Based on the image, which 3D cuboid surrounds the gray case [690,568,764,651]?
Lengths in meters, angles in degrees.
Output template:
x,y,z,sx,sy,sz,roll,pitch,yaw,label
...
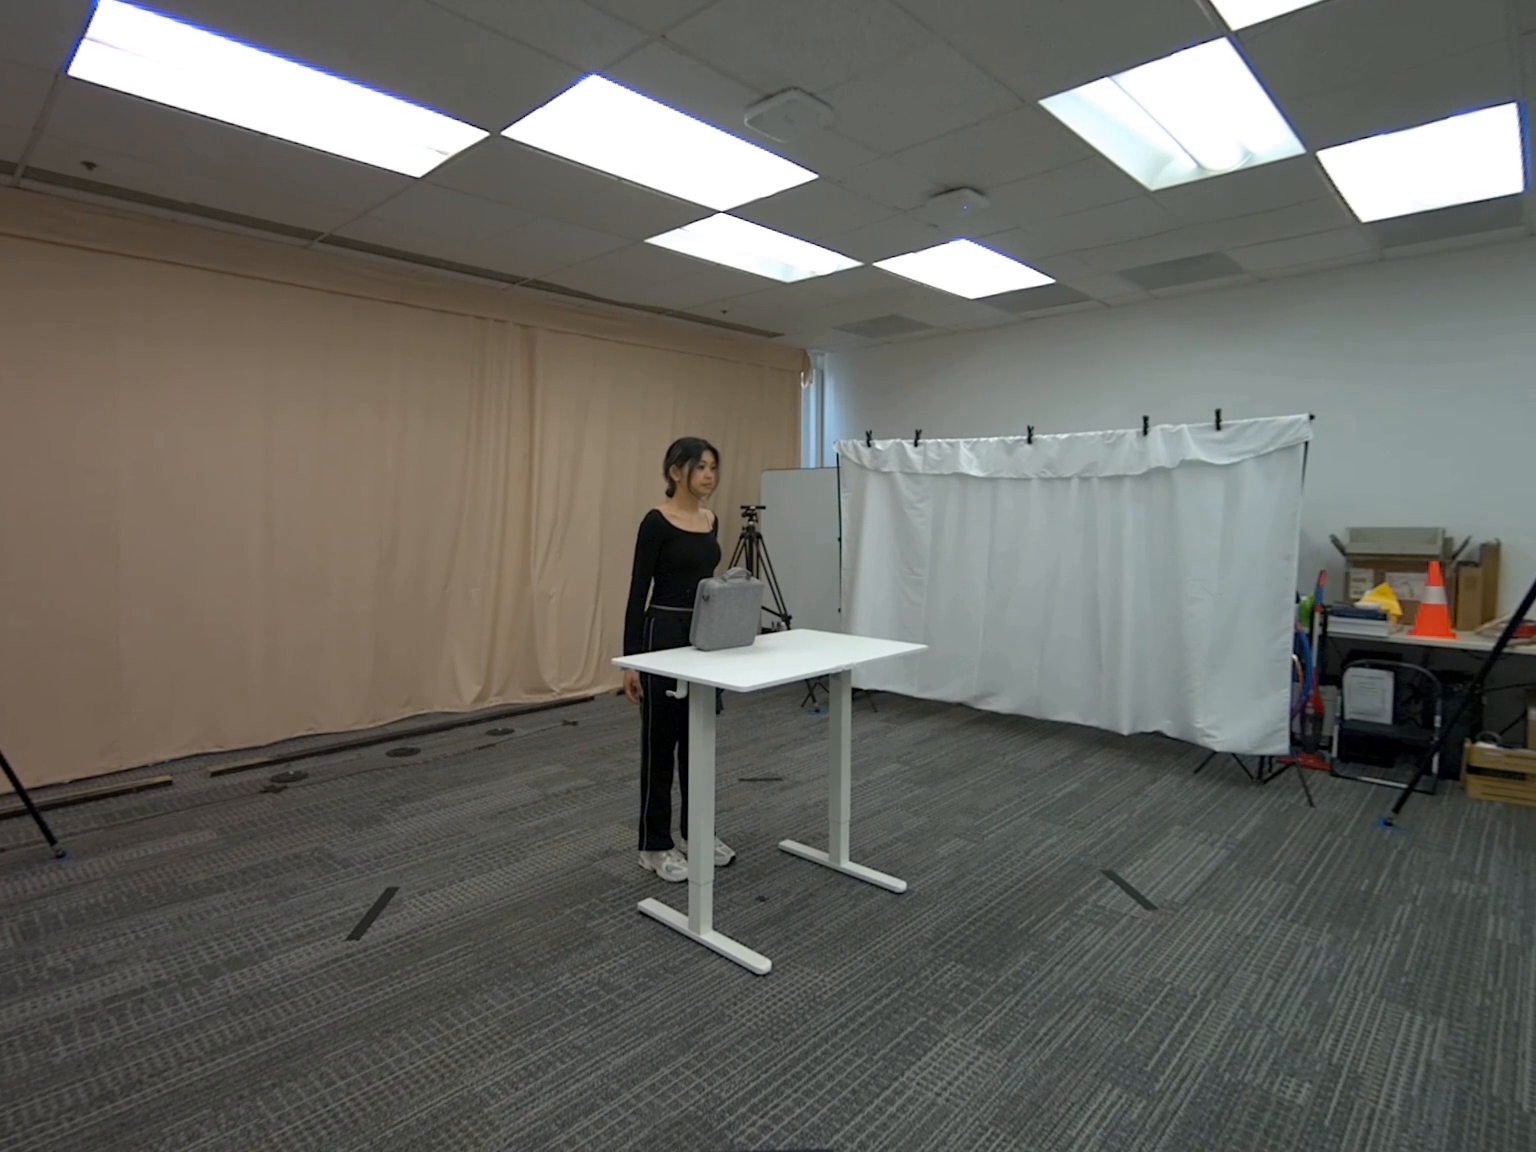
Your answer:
x,y,z,sx,sy,sz,roll,pitch,yaw,label
-0.145,0.126,3.007,0.249,0.259,0.108,-2,17,-38,gray case
